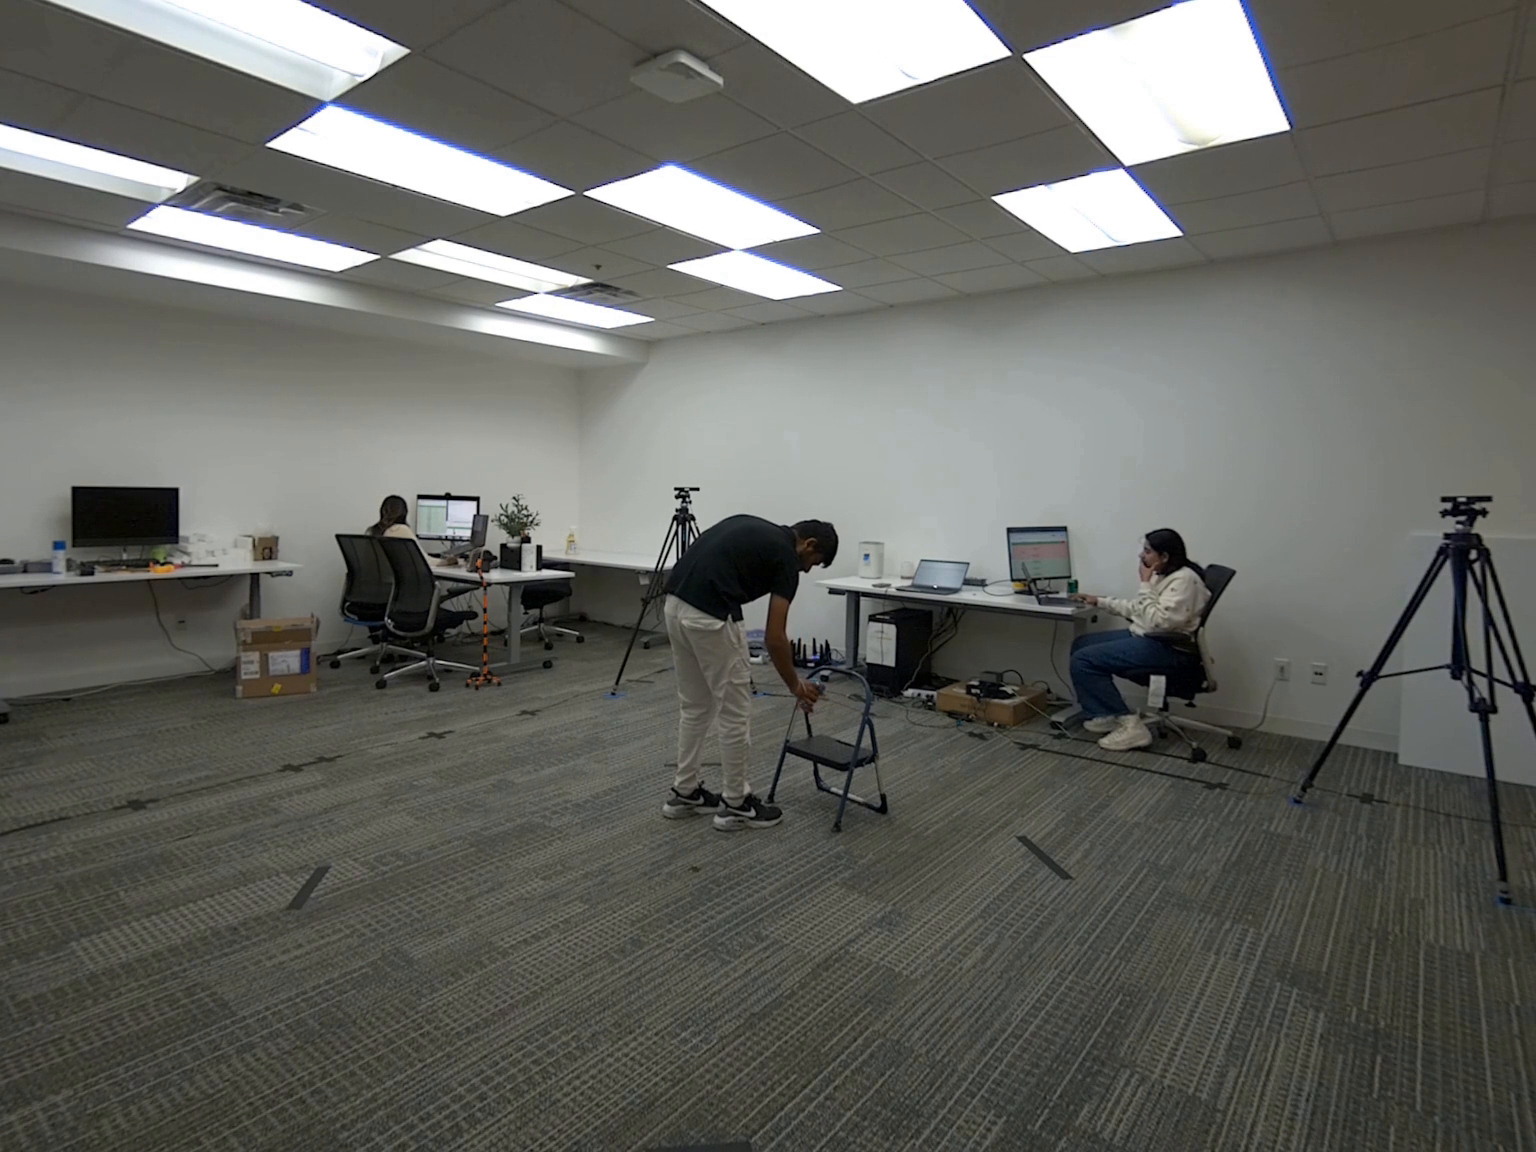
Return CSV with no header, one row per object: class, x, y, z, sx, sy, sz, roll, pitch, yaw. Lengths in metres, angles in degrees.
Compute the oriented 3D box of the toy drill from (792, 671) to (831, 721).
toy drill,0.190,0.520,3.653,0.063,0.147,0.163,14,-23,32
